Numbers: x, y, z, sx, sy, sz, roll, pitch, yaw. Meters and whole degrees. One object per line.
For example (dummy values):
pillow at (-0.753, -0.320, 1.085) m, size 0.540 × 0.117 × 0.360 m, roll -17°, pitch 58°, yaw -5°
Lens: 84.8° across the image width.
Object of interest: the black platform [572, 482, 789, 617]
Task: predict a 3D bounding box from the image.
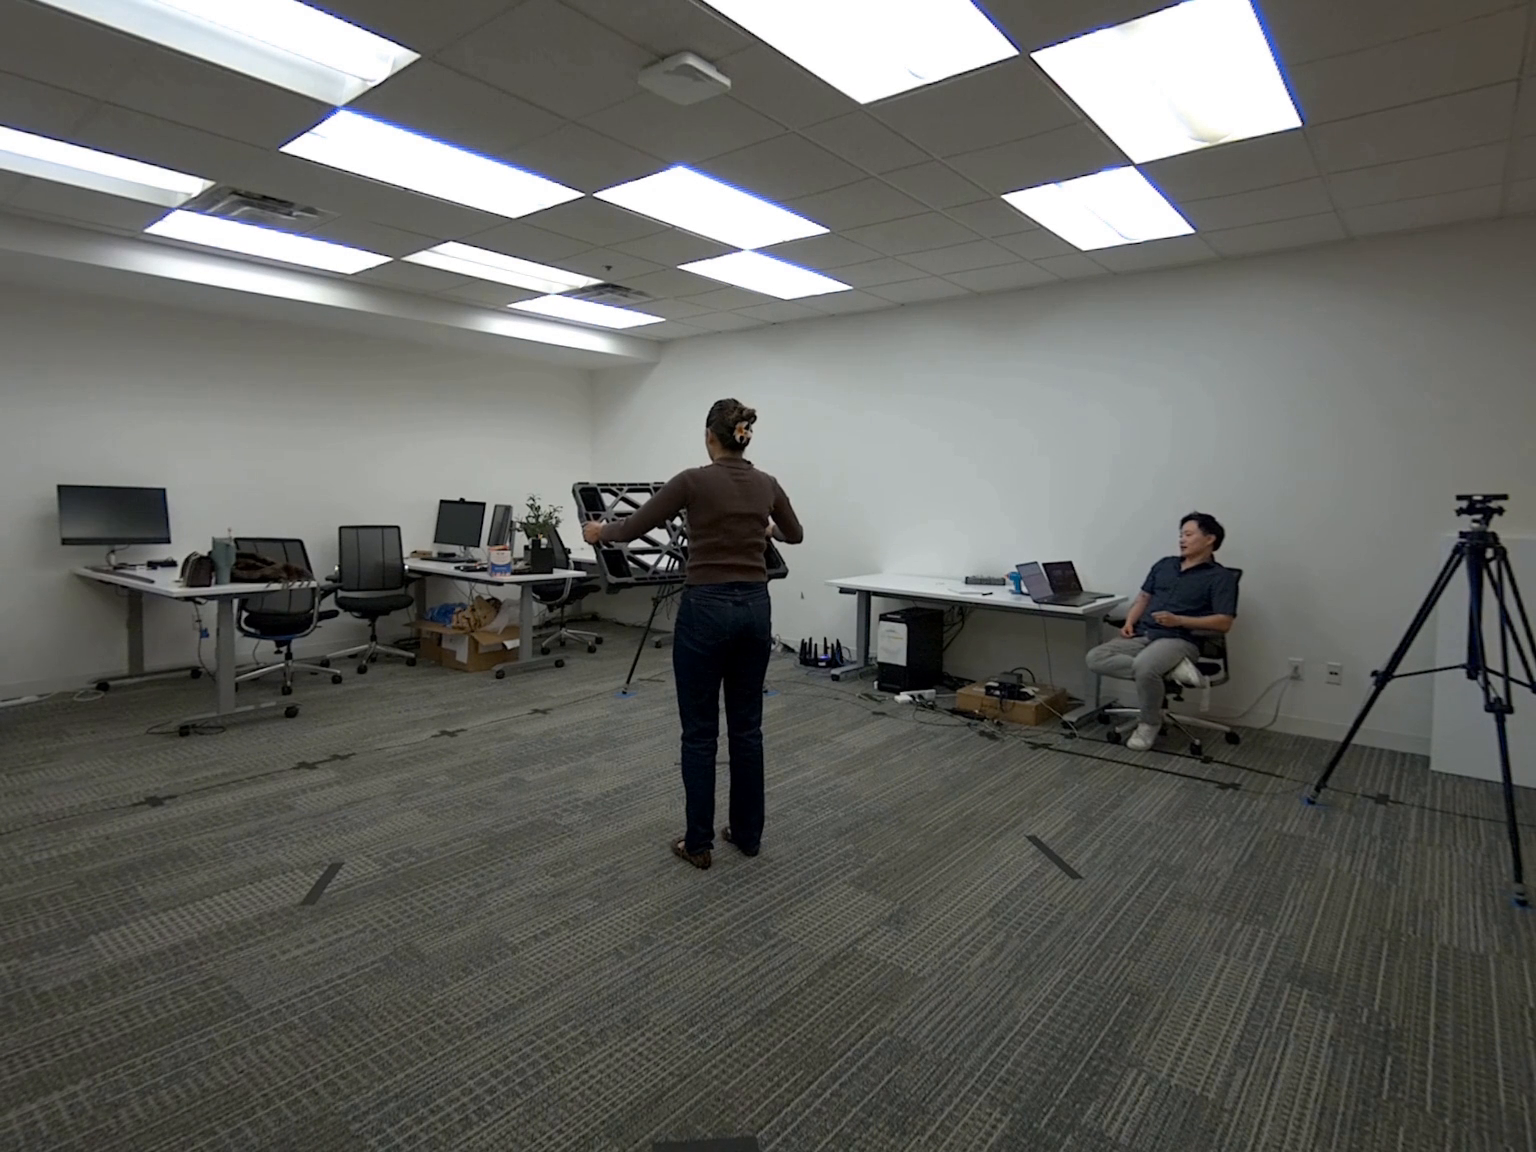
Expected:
black platform at (-0.393, -0.162, 3.612) m, size 0.786 × 0.141 × 0.629 m, roll -4°, pitch 45°, yaw -27°
